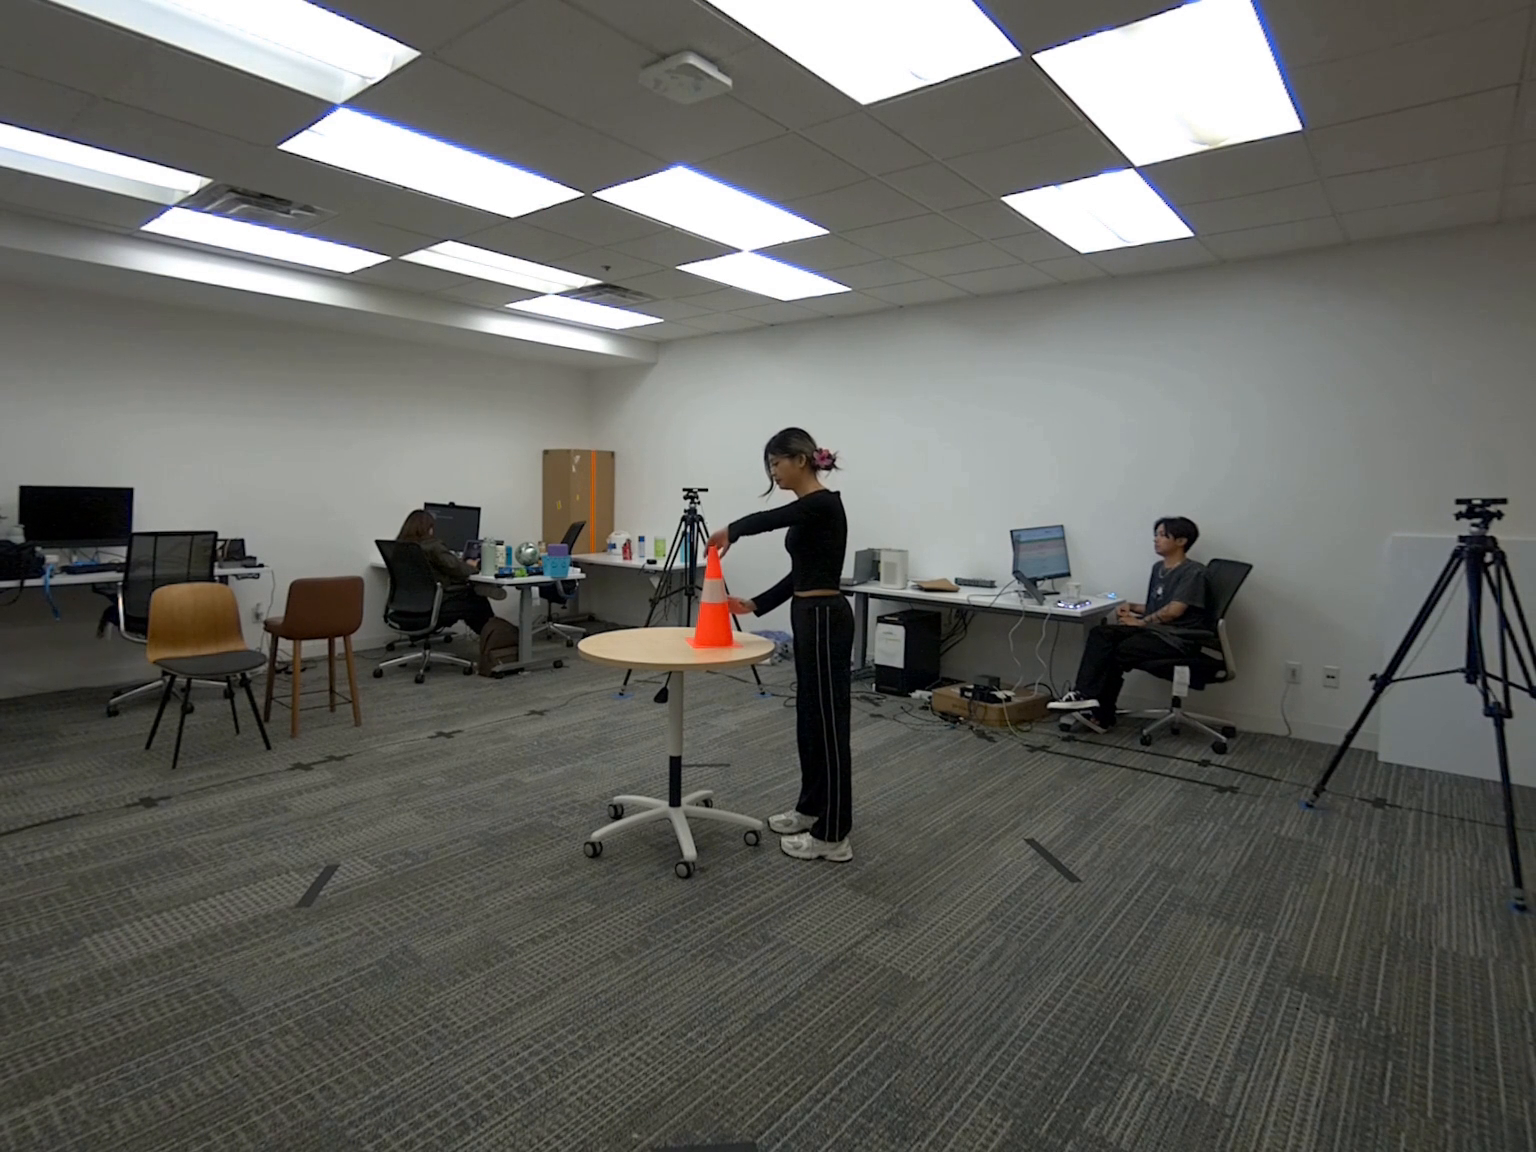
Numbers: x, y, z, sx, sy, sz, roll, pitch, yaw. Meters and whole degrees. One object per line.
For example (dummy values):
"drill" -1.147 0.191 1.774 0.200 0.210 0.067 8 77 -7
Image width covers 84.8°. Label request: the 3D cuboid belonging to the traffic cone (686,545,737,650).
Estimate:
"traffic cone" -0.221 0.075 3.345 0.200 0.383 0.209 0 3 -15
